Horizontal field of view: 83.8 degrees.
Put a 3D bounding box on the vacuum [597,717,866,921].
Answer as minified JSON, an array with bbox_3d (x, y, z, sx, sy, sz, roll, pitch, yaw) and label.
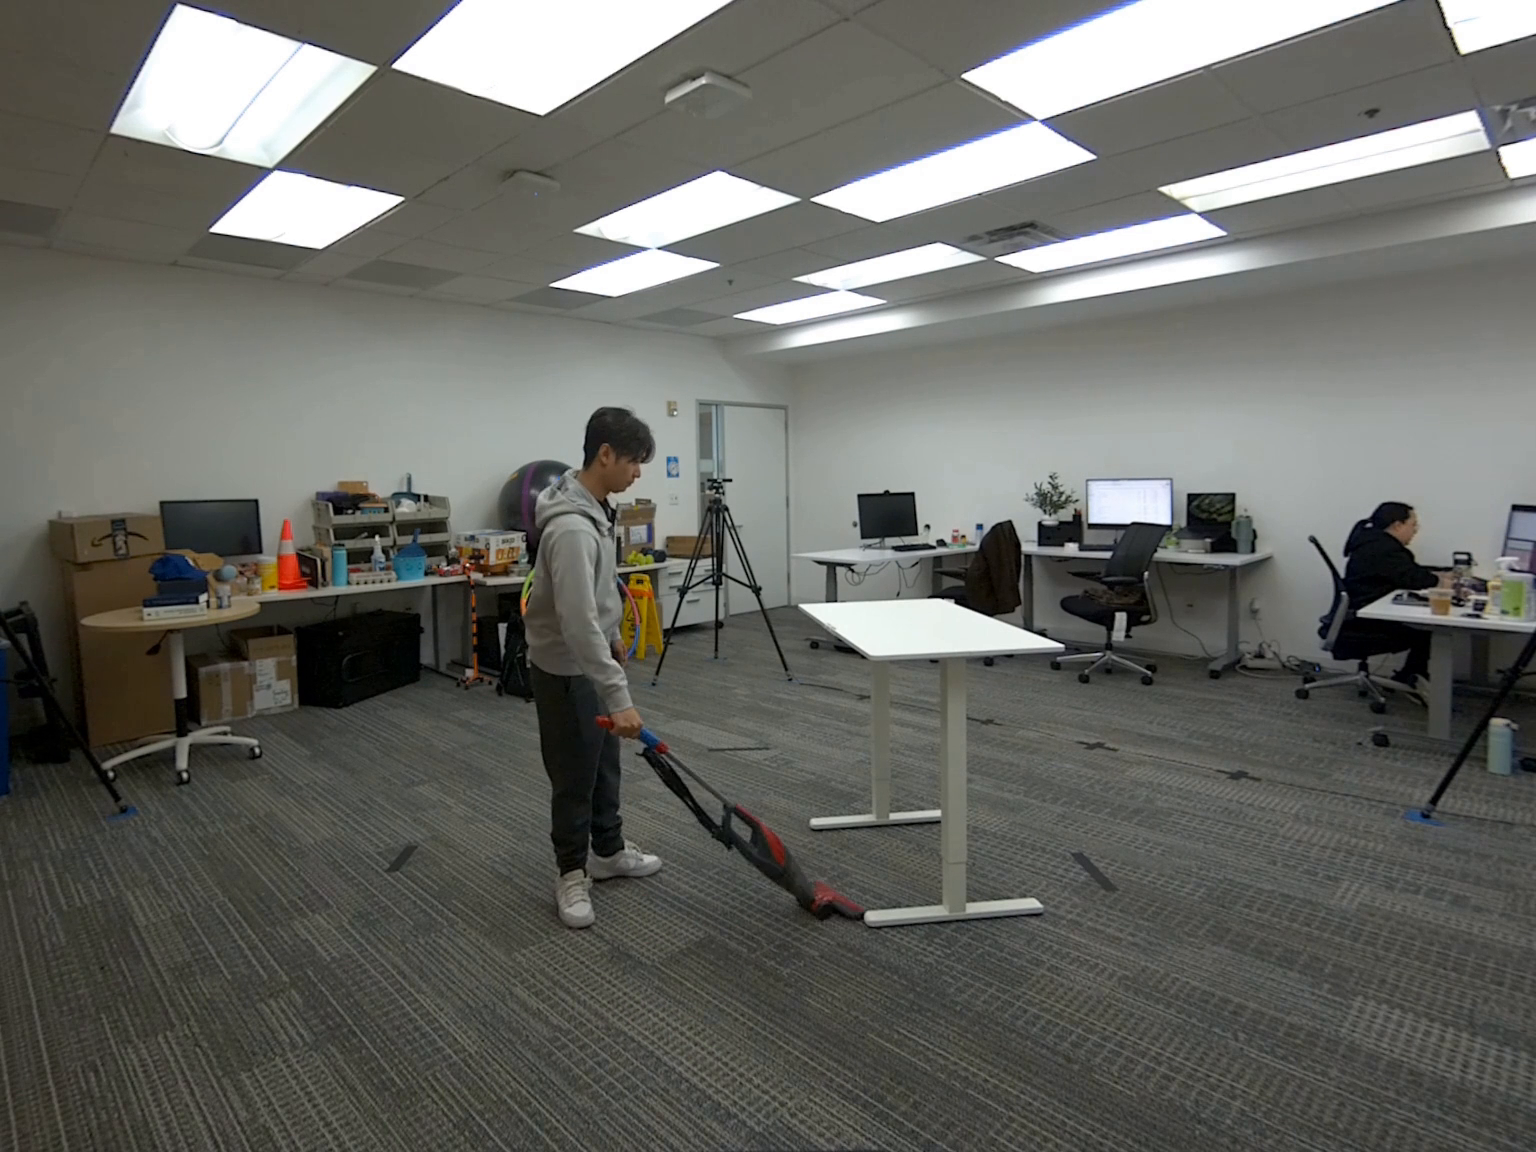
[{"bbox_3d":[-0.144,0.732,2.568,1.019,0.144,0.260,46,-18,-24],"label":"vacuum"}]
